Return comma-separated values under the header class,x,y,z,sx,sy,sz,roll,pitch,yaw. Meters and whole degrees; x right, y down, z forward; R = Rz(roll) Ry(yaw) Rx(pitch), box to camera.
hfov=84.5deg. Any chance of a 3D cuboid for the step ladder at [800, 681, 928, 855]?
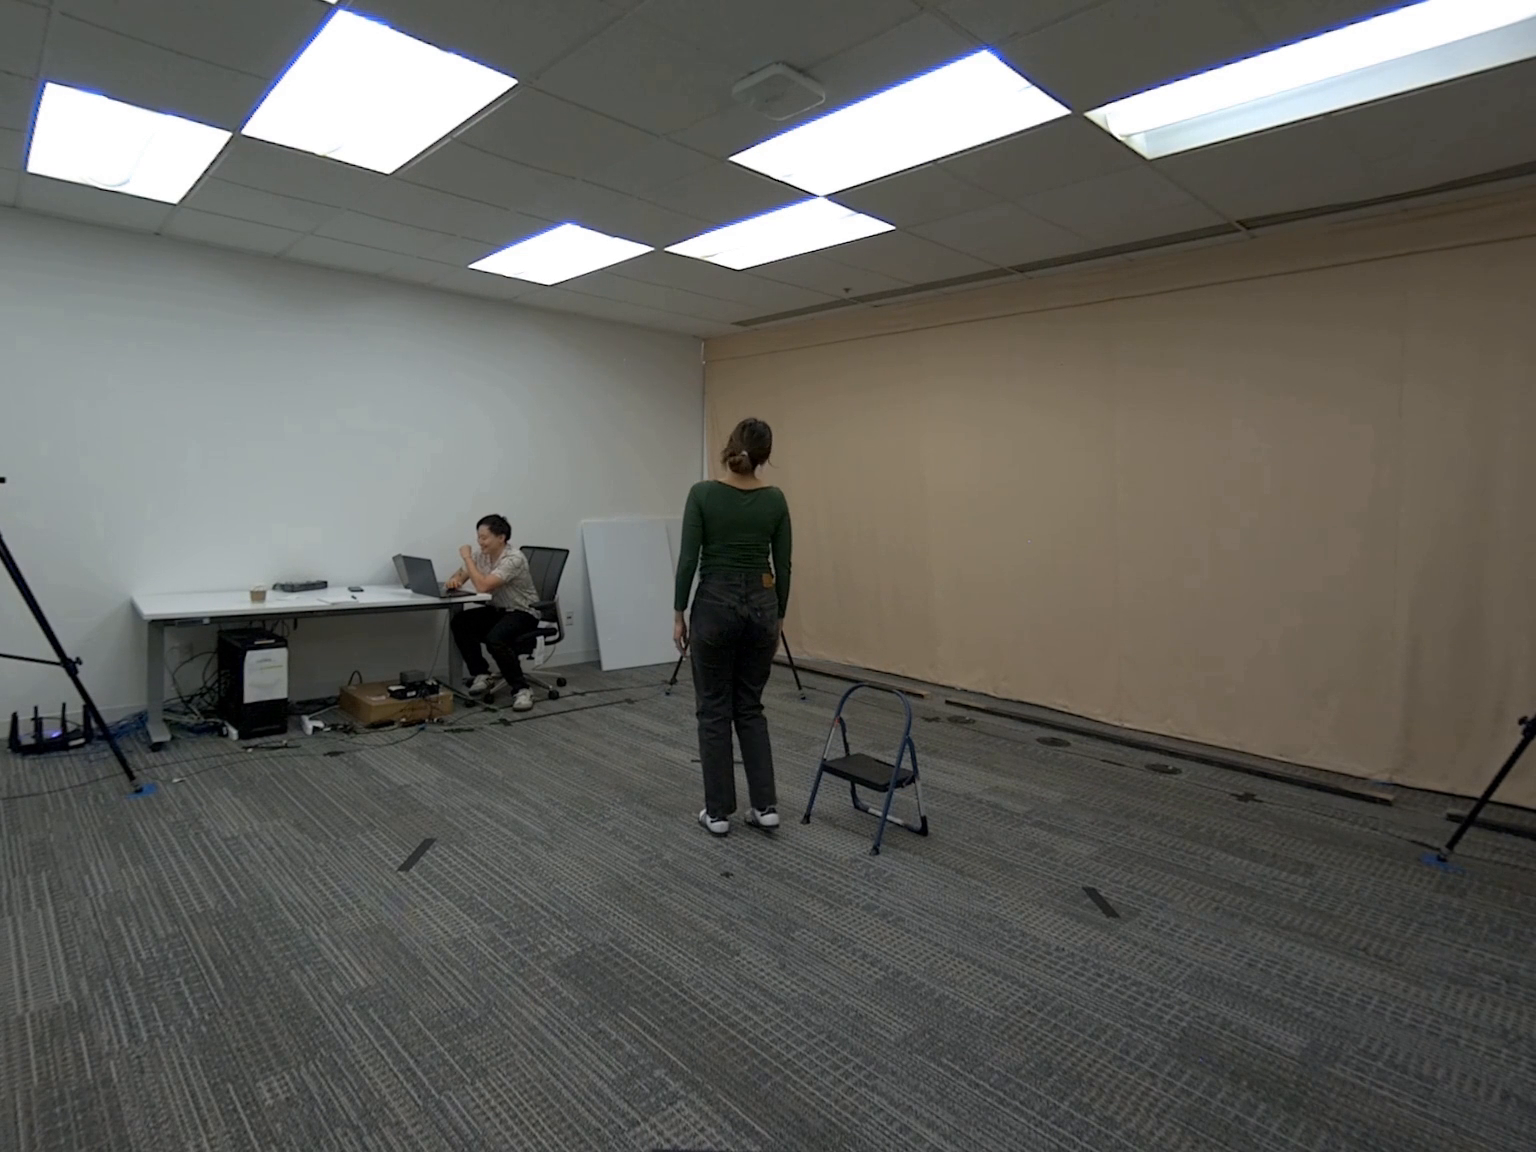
class,x,y,z,sx,sy,sz,roll,pitch,yaw
step ladder,0.407,0.773,3.554,0.341,0.604,0.442,-1,5,-40
